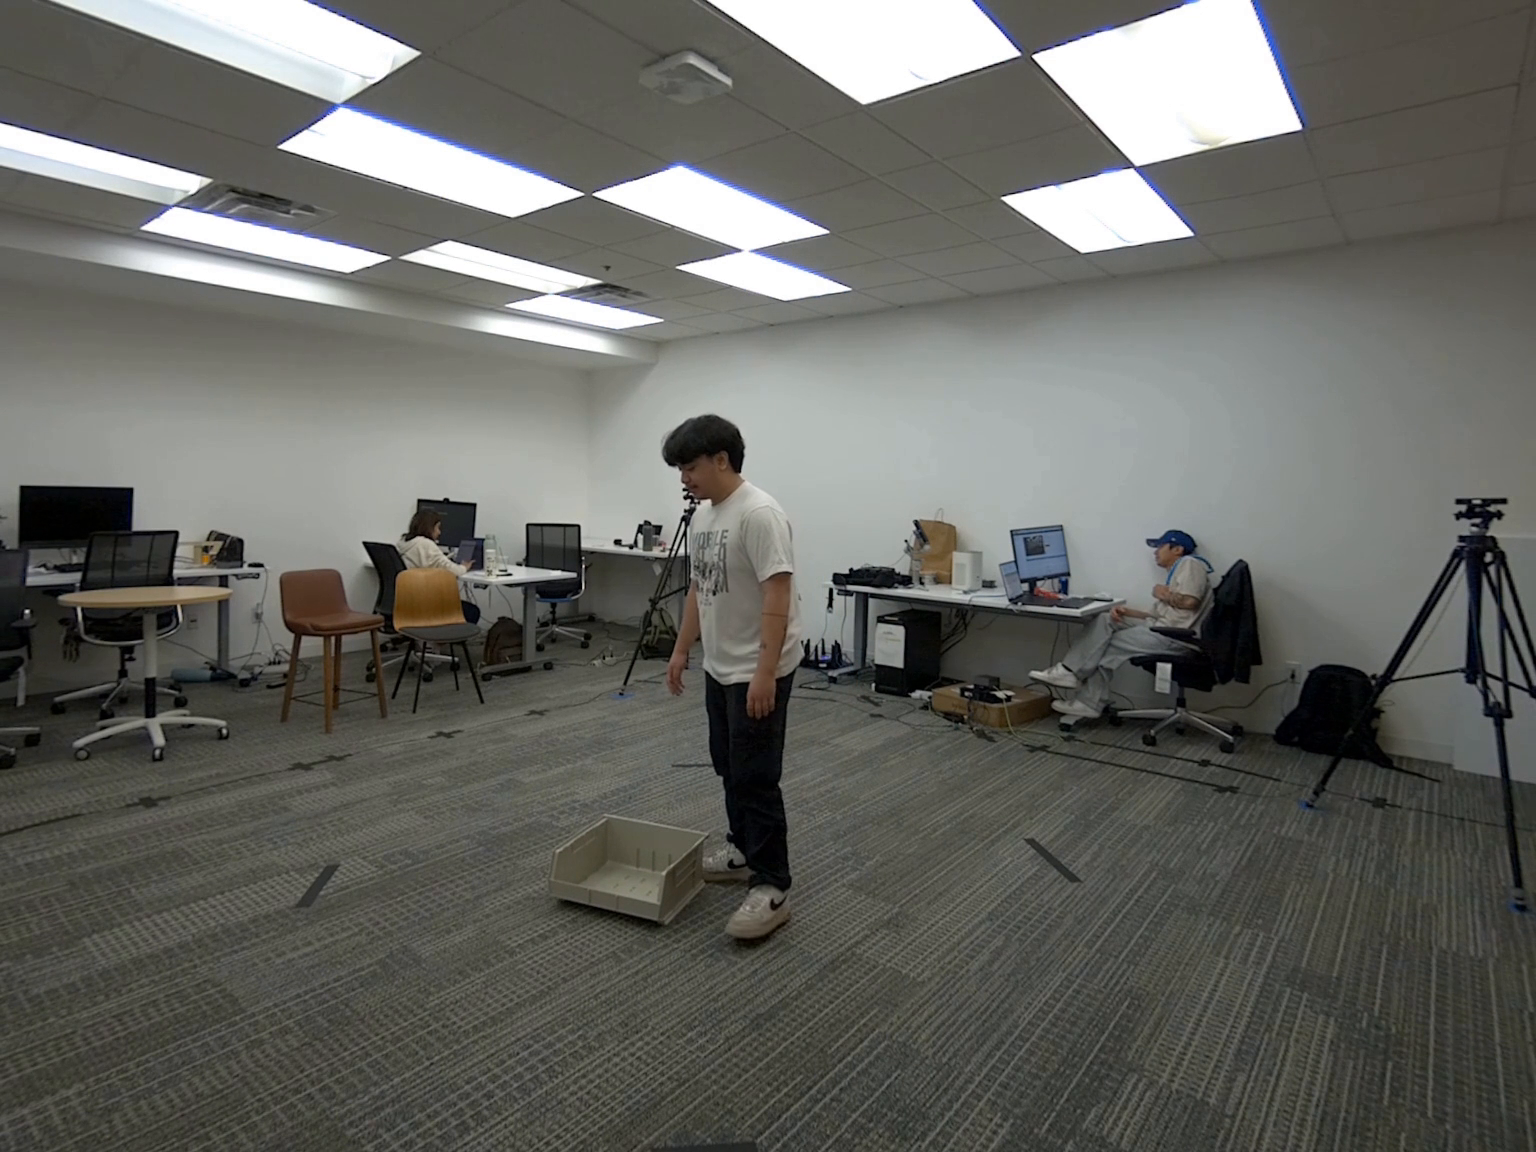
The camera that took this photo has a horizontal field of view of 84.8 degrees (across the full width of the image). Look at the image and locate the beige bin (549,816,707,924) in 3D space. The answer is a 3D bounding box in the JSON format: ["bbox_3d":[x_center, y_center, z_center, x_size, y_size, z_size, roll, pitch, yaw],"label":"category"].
[{"bbox_3d":[-0.480,0.998,2.899,0.432,0.188,0.370,3,4,21],"label":"beige bin"}]
